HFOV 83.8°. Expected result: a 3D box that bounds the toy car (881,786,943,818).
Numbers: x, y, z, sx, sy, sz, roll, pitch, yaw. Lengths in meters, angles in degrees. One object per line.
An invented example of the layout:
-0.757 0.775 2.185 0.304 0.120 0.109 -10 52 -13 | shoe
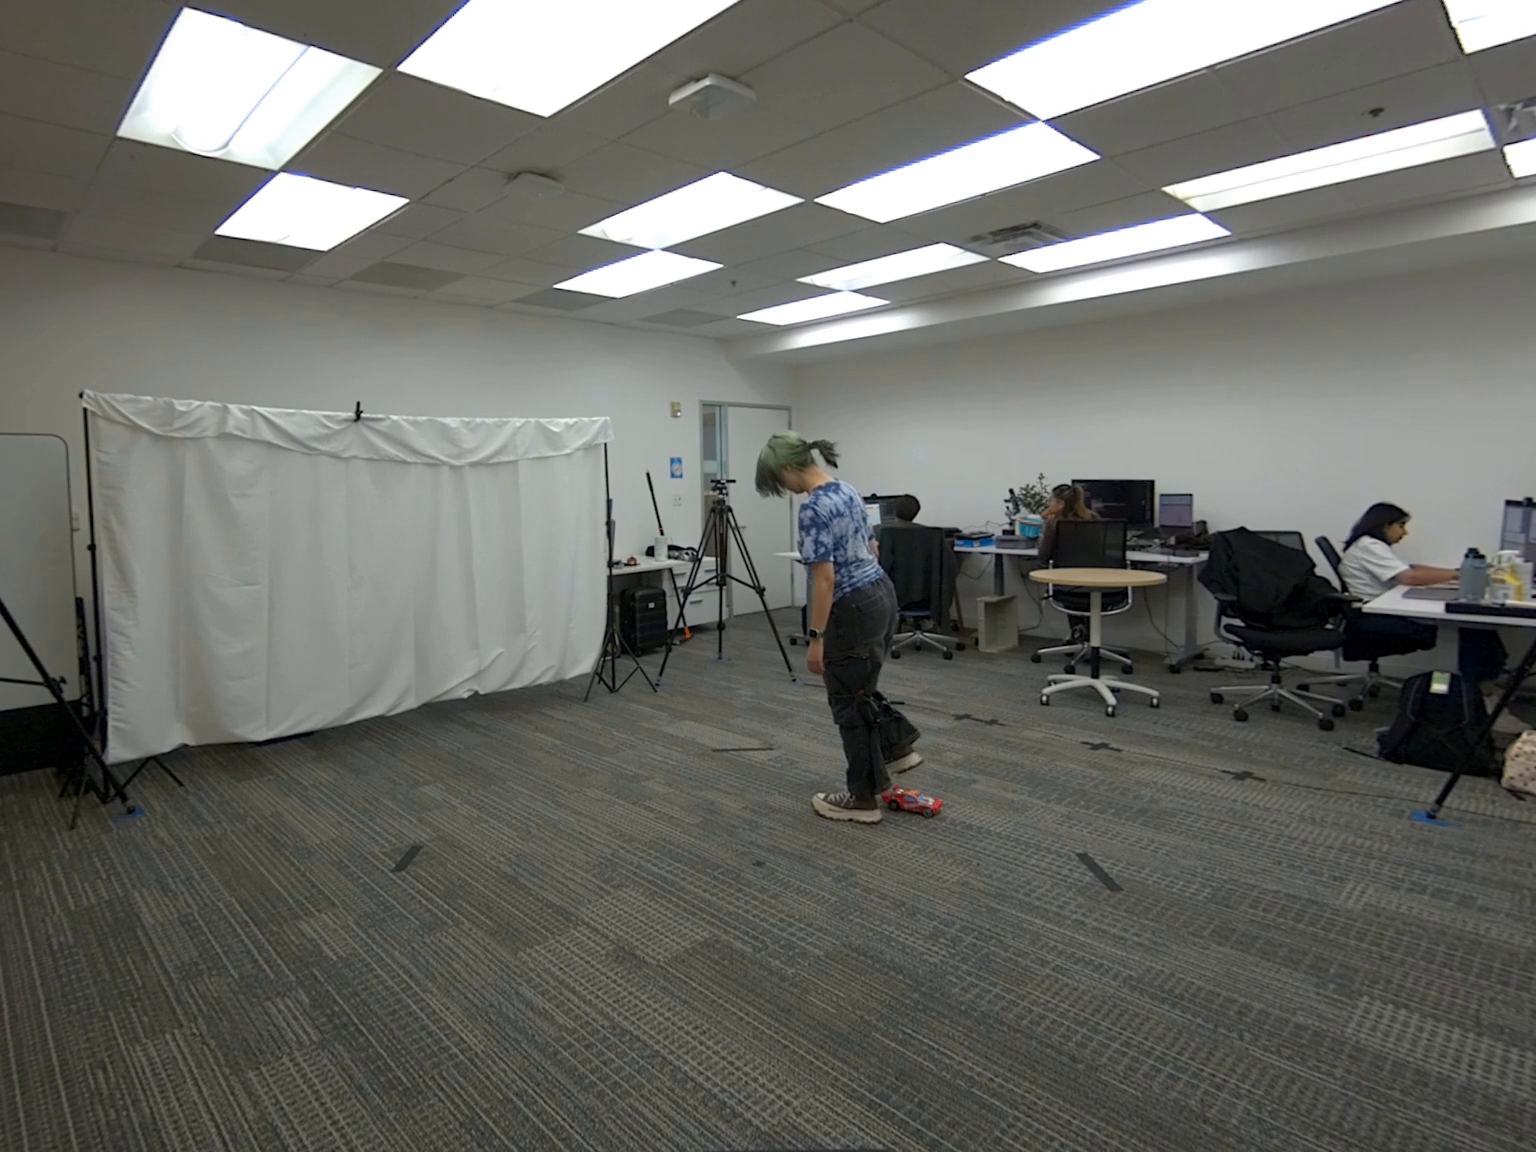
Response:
0.596 0.945 3.599 0.262 0.082 0.127 13 12 31 | toy car
